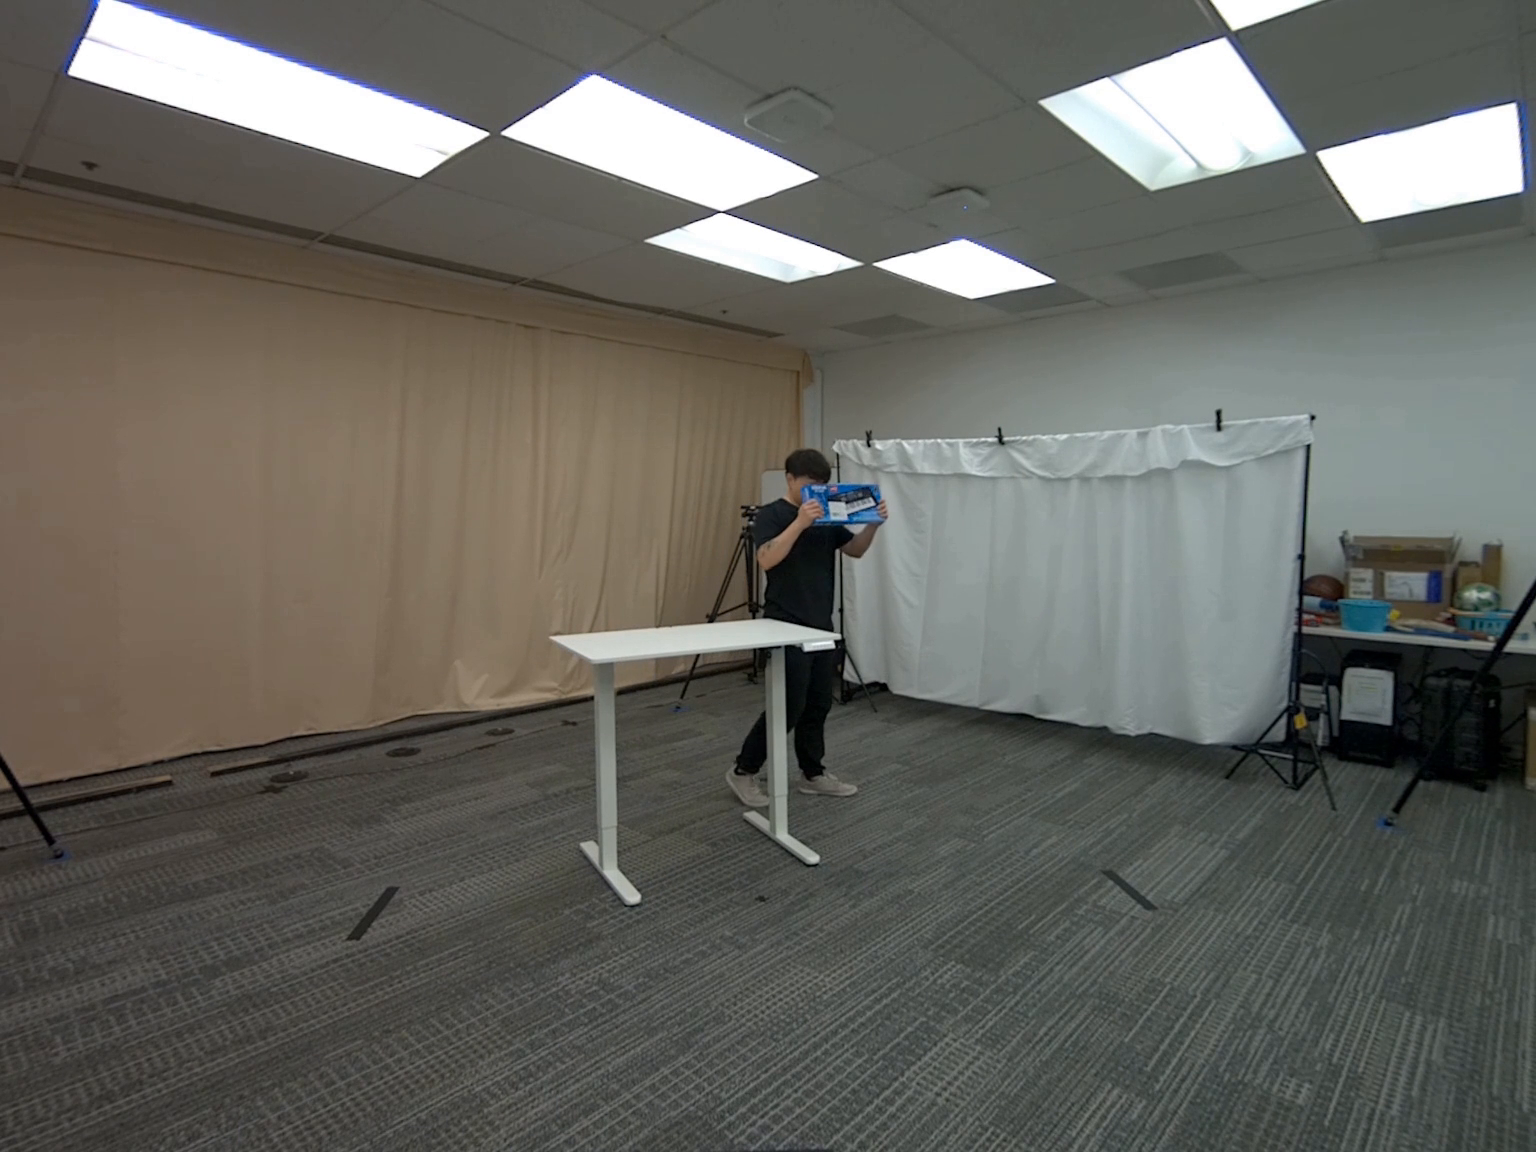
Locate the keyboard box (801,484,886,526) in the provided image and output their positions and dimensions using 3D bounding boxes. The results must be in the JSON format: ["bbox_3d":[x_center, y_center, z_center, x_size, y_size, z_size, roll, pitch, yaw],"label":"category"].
[{"bbox_3d":[0.330,-0.310,3.741,0.424,0.177,0.060,-4,-9,-38],"label":"keyboard box"}]
